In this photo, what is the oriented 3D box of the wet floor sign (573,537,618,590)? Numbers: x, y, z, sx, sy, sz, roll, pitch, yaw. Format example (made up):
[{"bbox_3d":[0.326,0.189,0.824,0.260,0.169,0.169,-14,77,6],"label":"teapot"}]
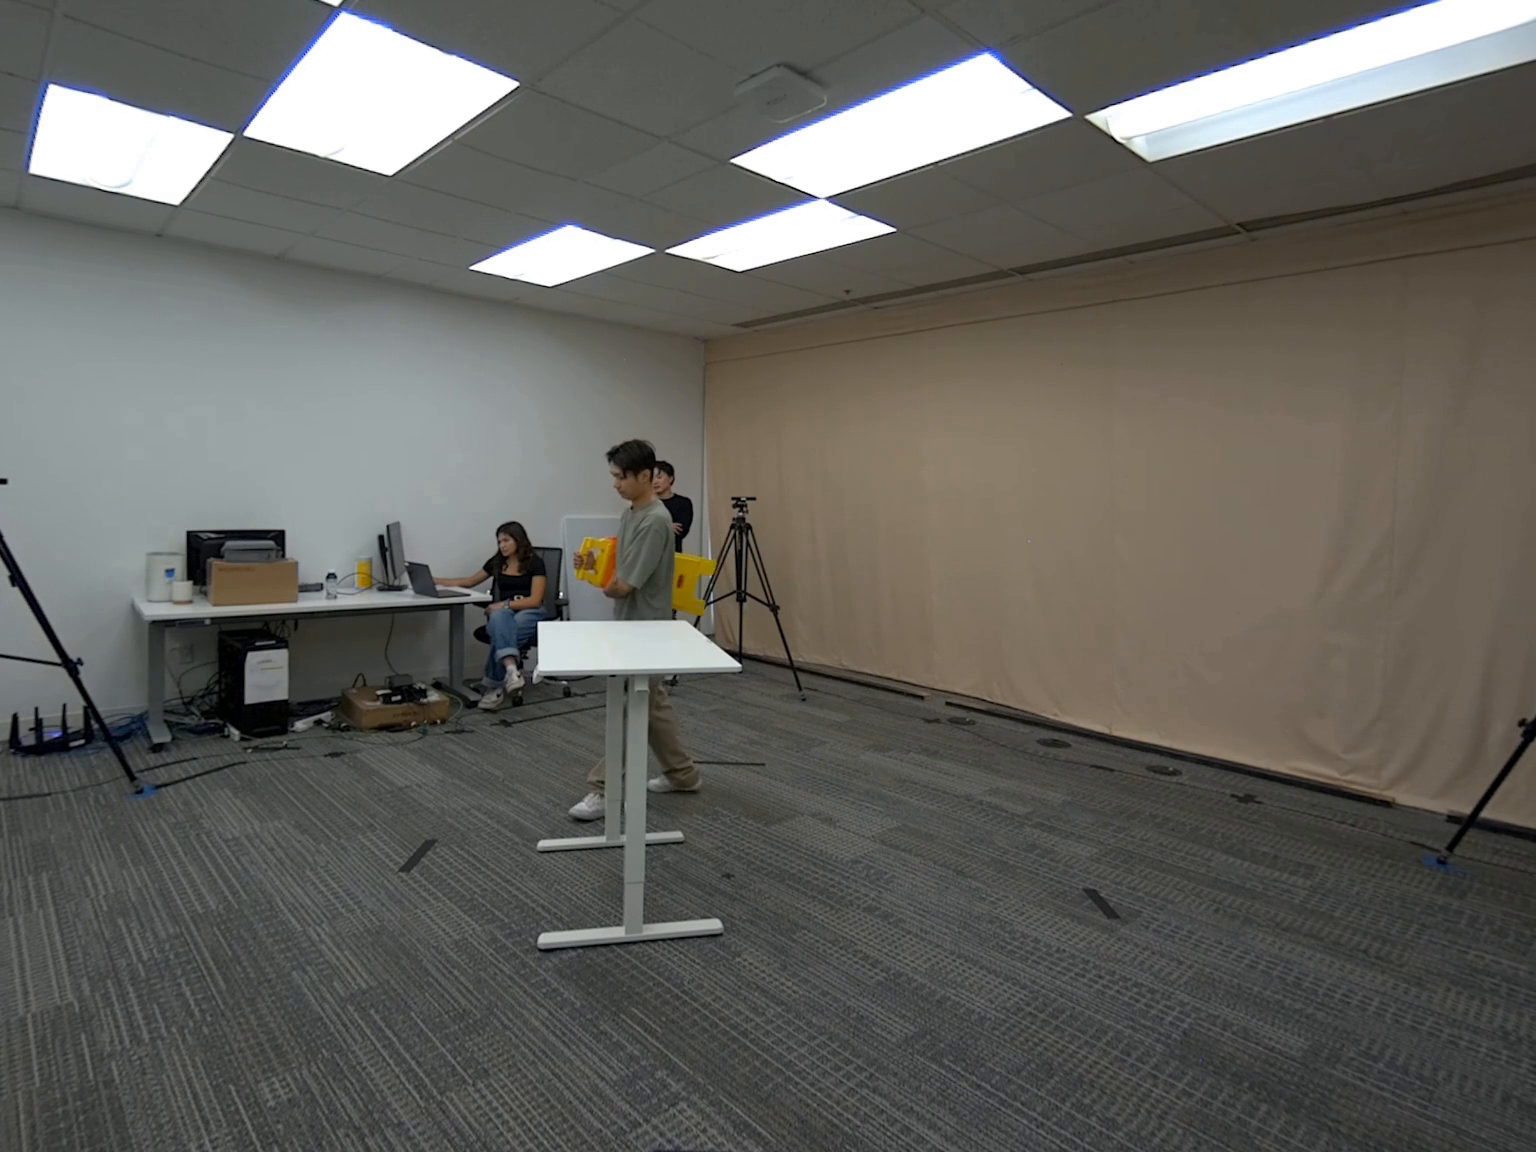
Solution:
[{"bbox_3d":[-0.596,-0.005,3.995,0.631,0.282,0.296,14,0,-28],"label":"wet floor sign"}]
